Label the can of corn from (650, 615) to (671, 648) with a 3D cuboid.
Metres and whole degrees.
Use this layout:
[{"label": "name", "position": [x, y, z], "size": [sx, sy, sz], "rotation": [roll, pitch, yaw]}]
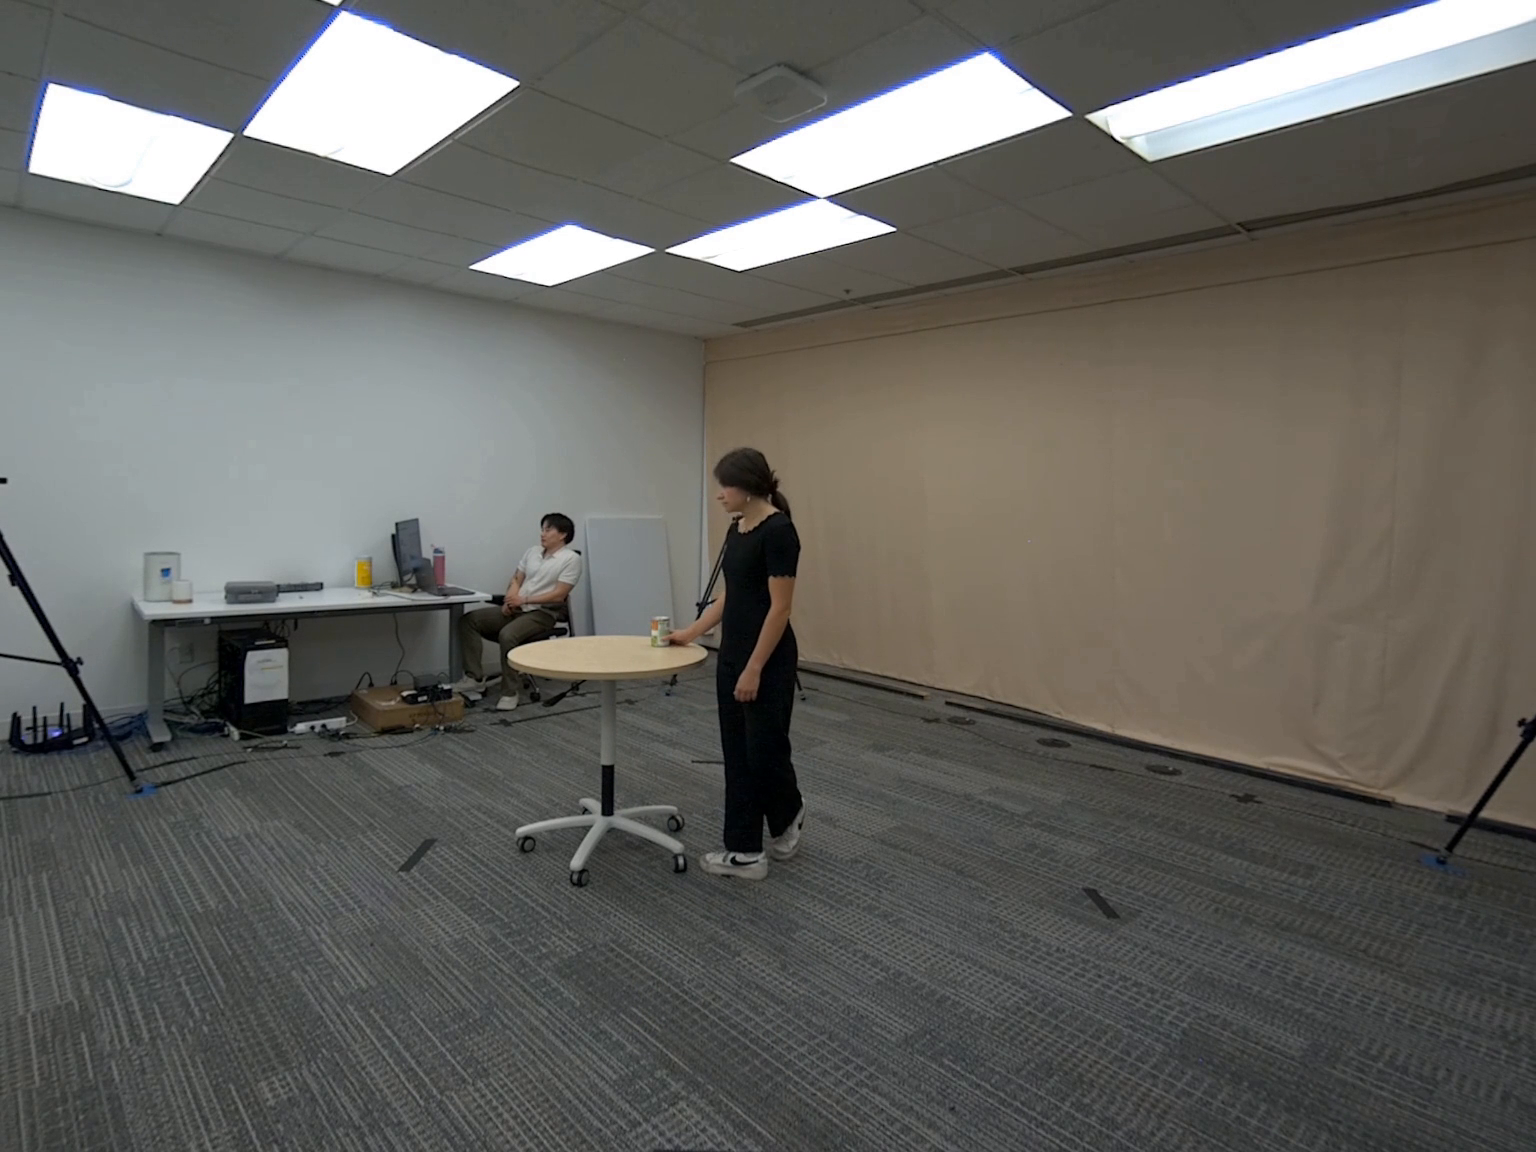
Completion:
[{"label": "can of corn", "position": [-0.441, 0.228, 3.434], "size": [0.074, 0.111, 0.074], "rotation": [1, 0, -1]}]
